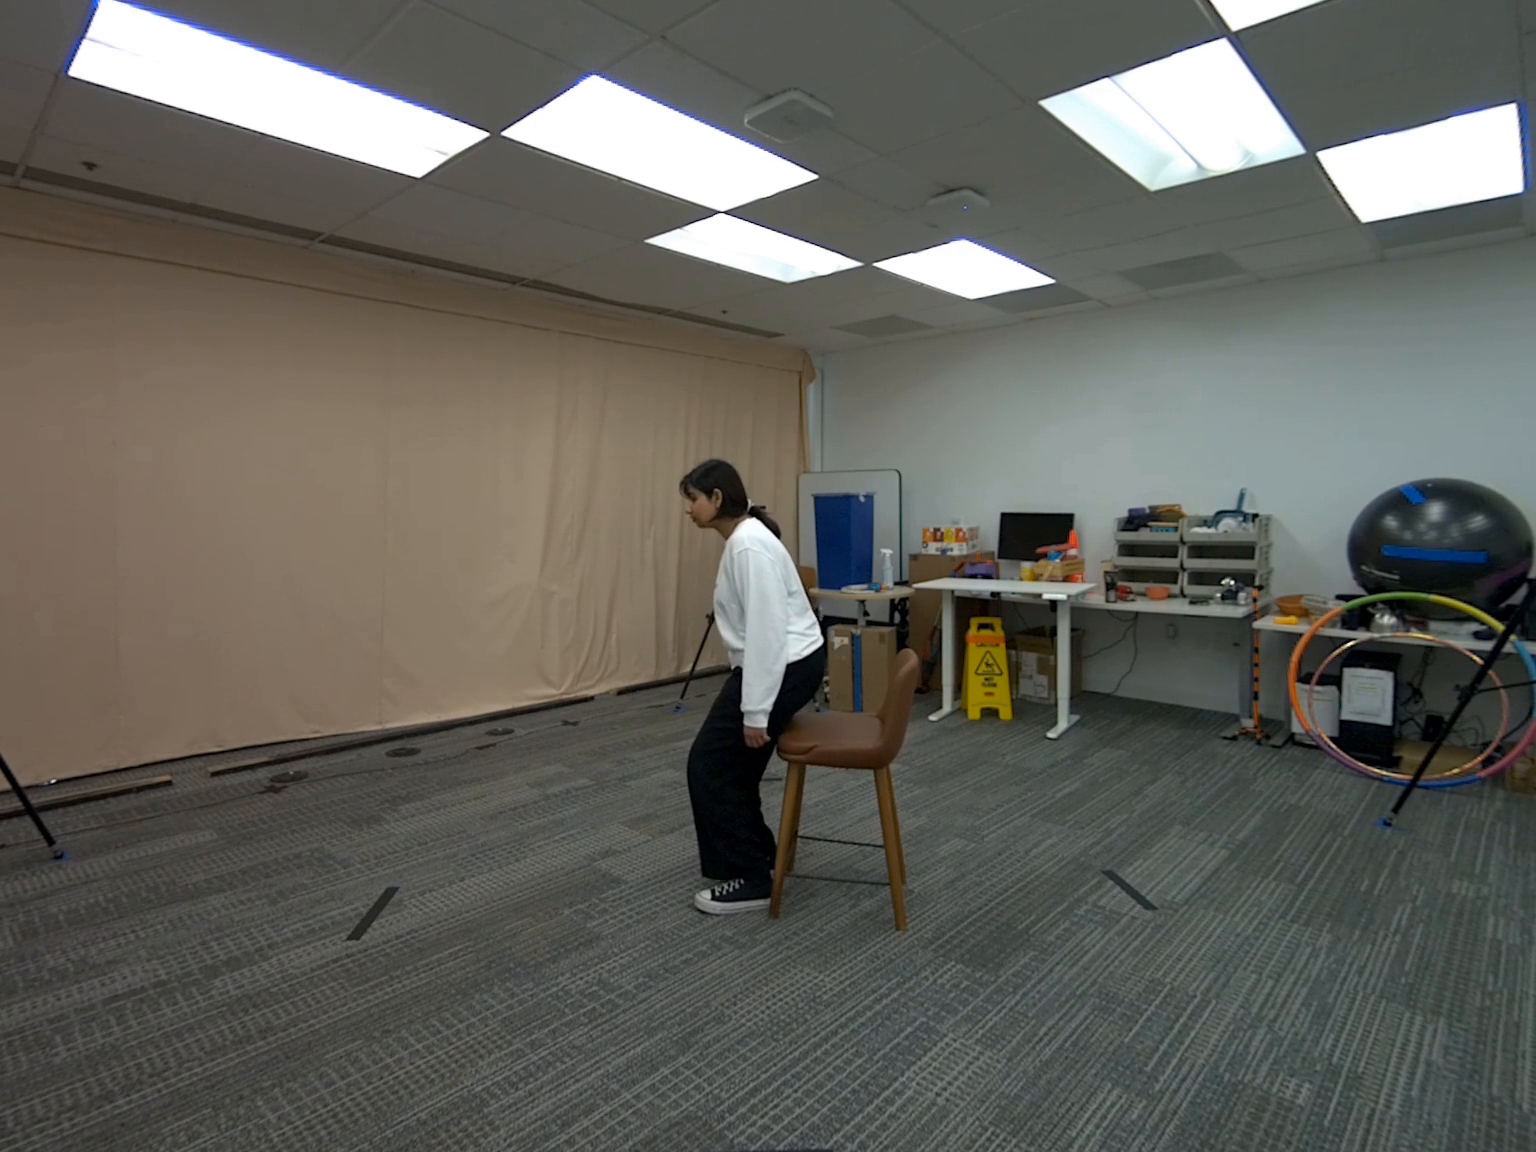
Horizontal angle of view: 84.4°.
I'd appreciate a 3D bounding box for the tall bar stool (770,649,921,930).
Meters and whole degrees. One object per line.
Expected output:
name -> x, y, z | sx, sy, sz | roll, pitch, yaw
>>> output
tall bar stool -> 0.276, 0.711, 2.955 | 0.474, 0.888, 0.451 | 3, 4, 11
